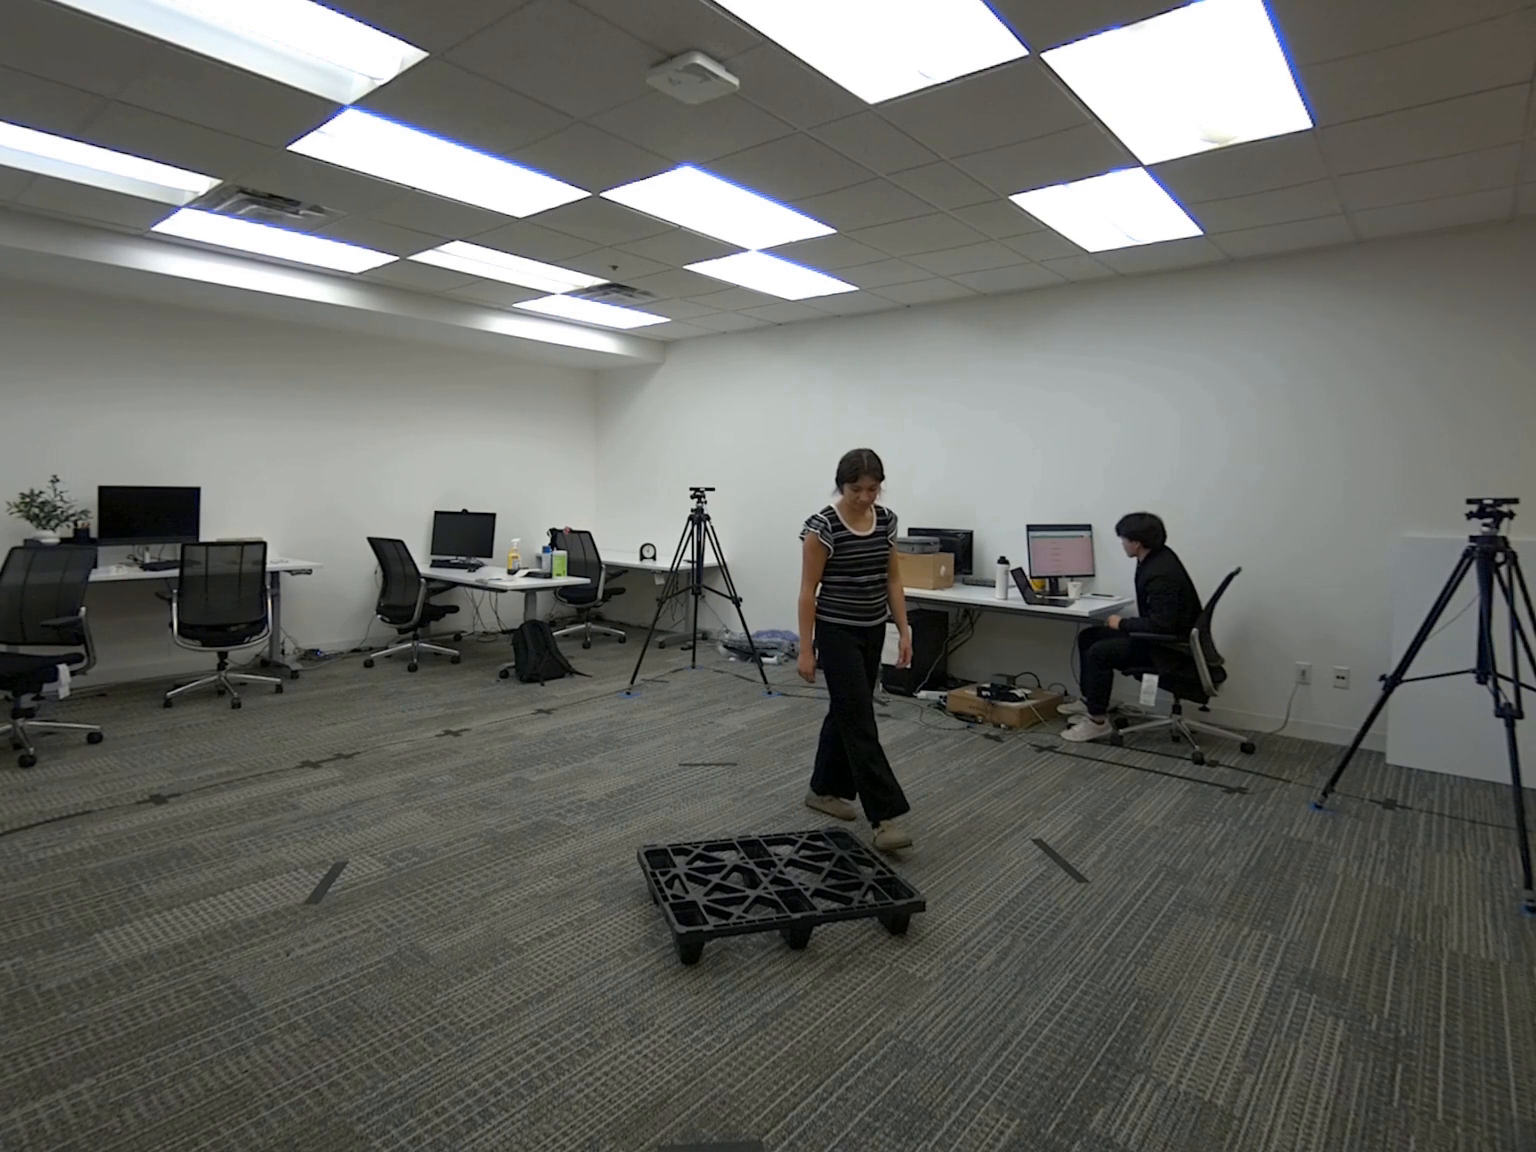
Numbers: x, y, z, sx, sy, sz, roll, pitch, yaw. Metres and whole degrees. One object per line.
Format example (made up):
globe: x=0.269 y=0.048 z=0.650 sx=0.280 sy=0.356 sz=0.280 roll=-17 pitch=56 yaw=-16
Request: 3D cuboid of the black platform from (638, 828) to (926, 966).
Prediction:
black platform: x=0.009 y=1.034 z=2.794 sx=0.791 sy=0.142 sz=0.619 roll=-1 pitch=7 yaw=-18
